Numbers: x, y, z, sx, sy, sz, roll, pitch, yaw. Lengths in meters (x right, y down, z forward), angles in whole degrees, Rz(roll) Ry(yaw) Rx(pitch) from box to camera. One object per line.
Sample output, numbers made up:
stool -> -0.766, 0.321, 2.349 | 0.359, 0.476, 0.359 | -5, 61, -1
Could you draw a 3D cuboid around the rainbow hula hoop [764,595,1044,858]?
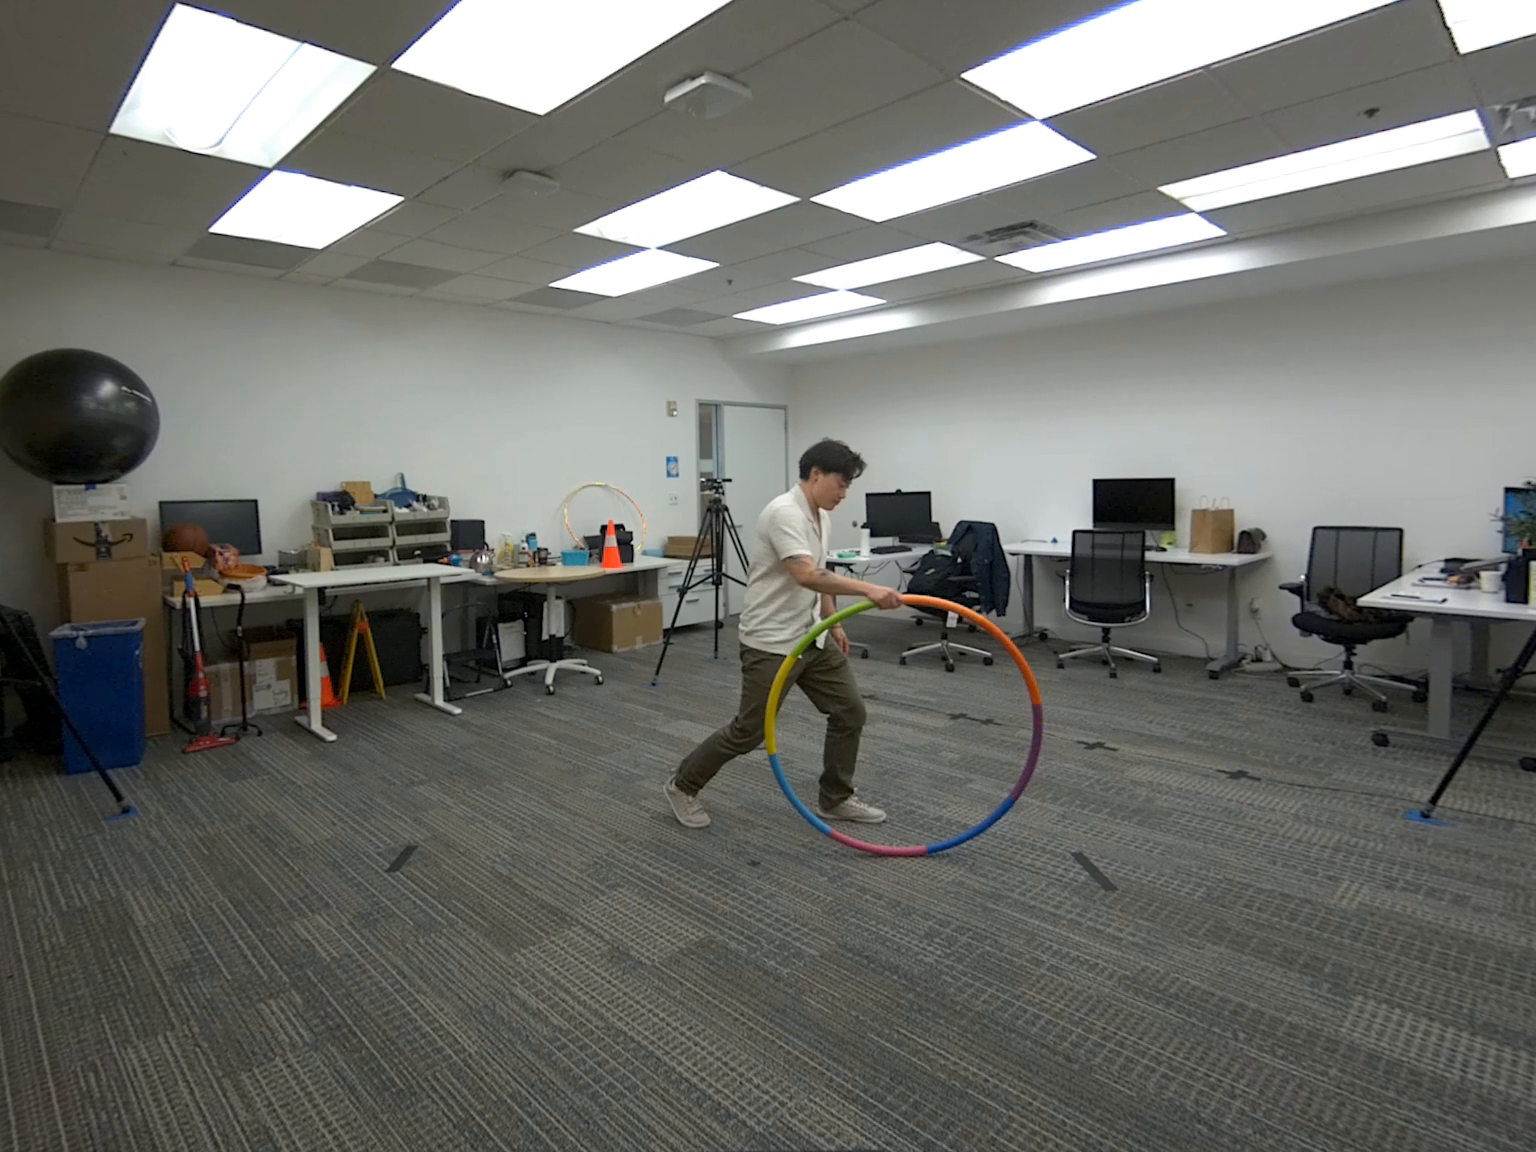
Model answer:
rainbow hula hoop -> 0.479, 0.559, 3.097 | 0.981, 0.972, 0.035 | -1, 7, 3
